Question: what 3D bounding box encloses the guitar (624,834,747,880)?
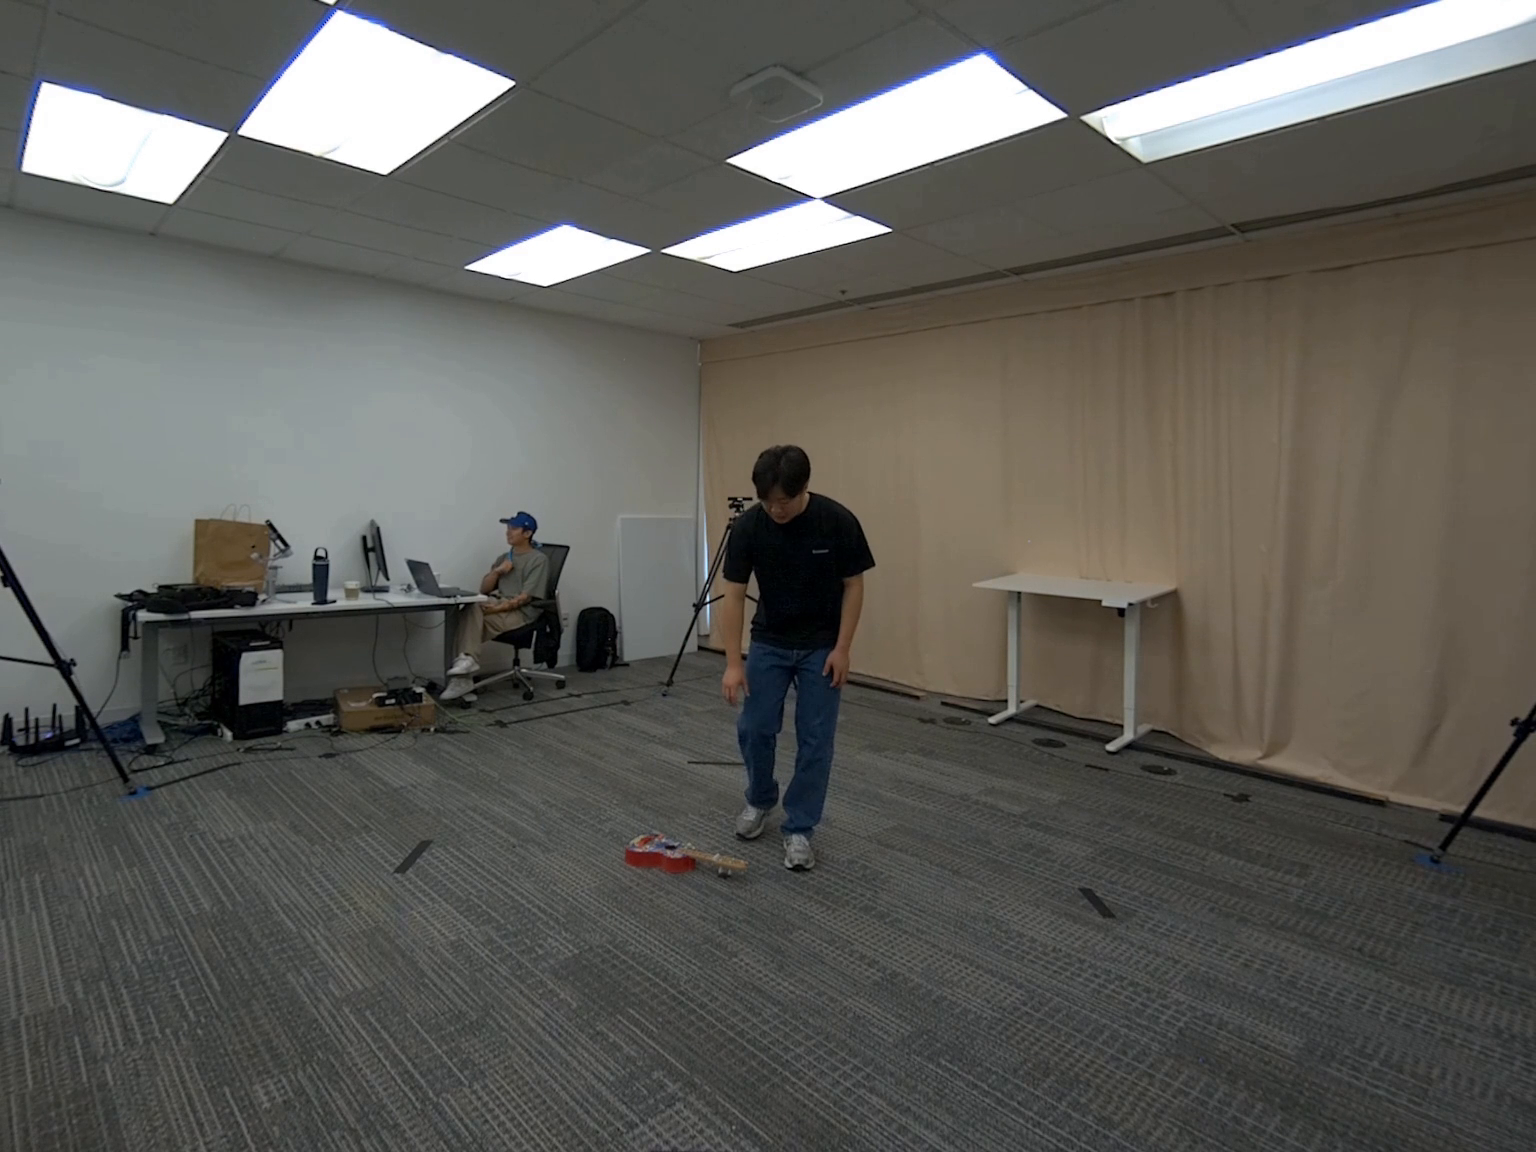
[{"bbox_3d":[-0.326,1.067,3.148,0.510,0.070,0.189,4,6,36],"label":"guitar"}]
